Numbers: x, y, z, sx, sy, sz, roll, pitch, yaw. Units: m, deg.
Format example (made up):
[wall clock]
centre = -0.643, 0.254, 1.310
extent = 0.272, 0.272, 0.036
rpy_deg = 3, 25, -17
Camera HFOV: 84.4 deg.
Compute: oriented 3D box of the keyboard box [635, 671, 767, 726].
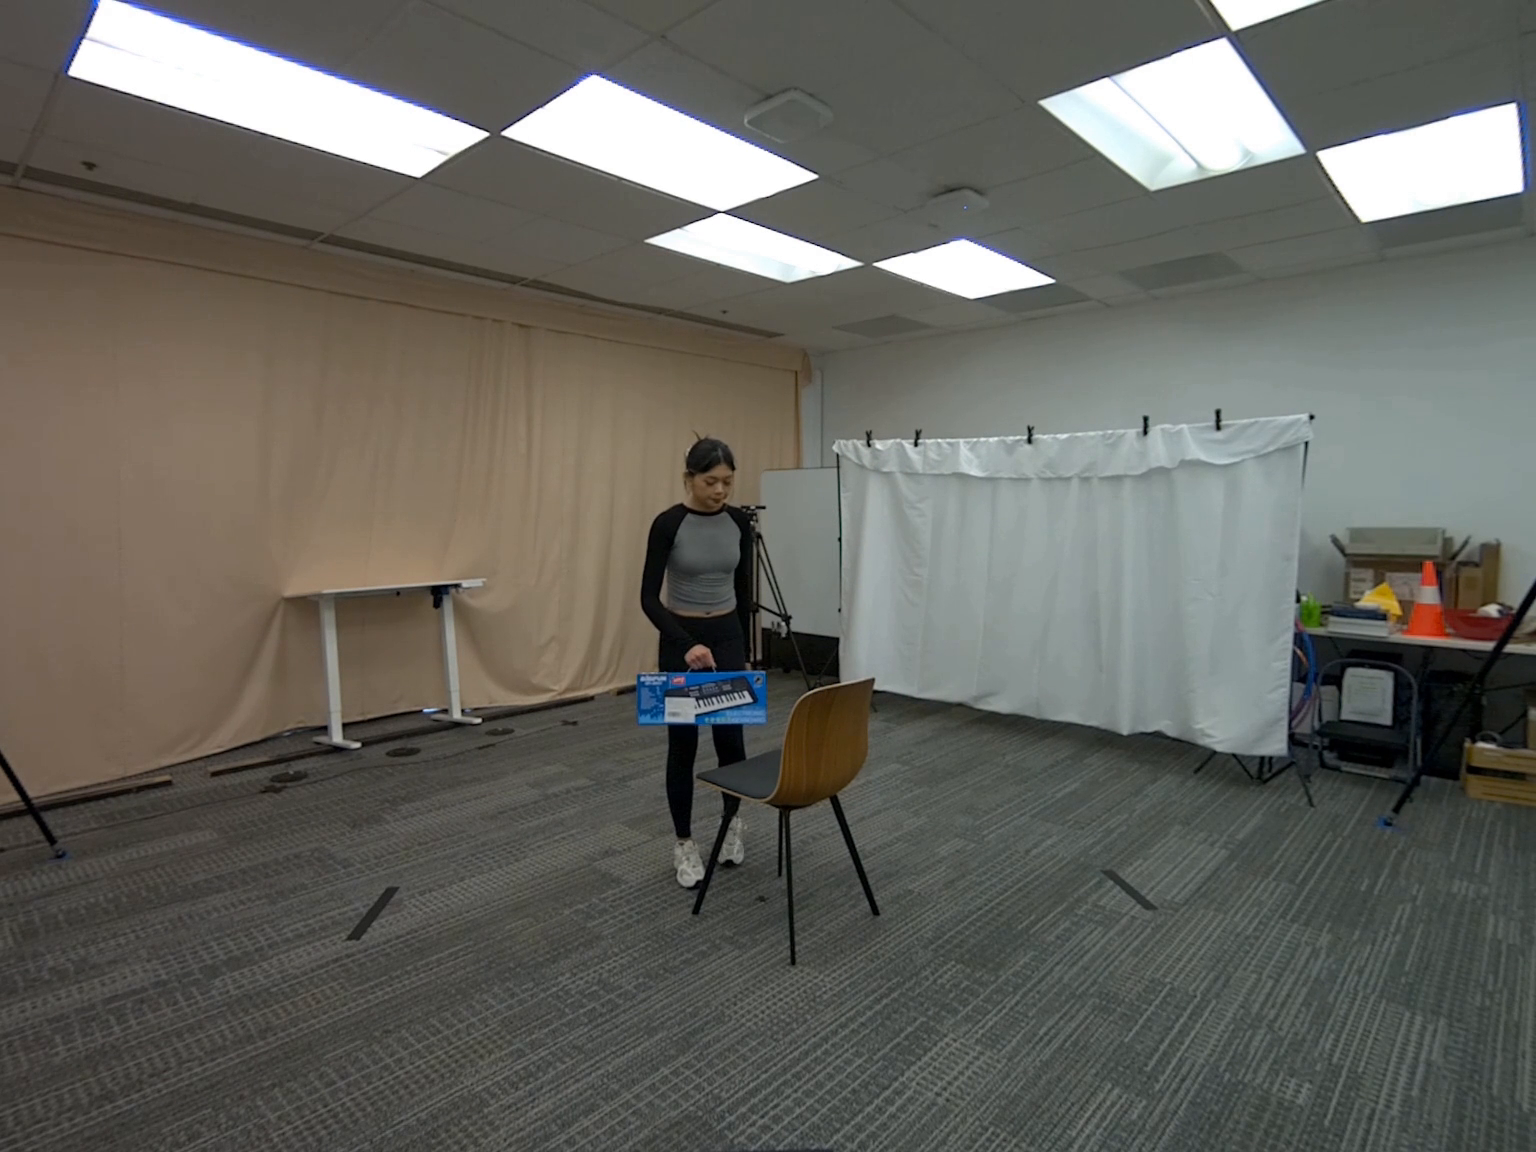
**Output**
[keyboard box]
centre = -0.228, 0.403, 2.867
extent = 0.438, 0.176, 0.059
rpy_deg = -1, -4, 3
